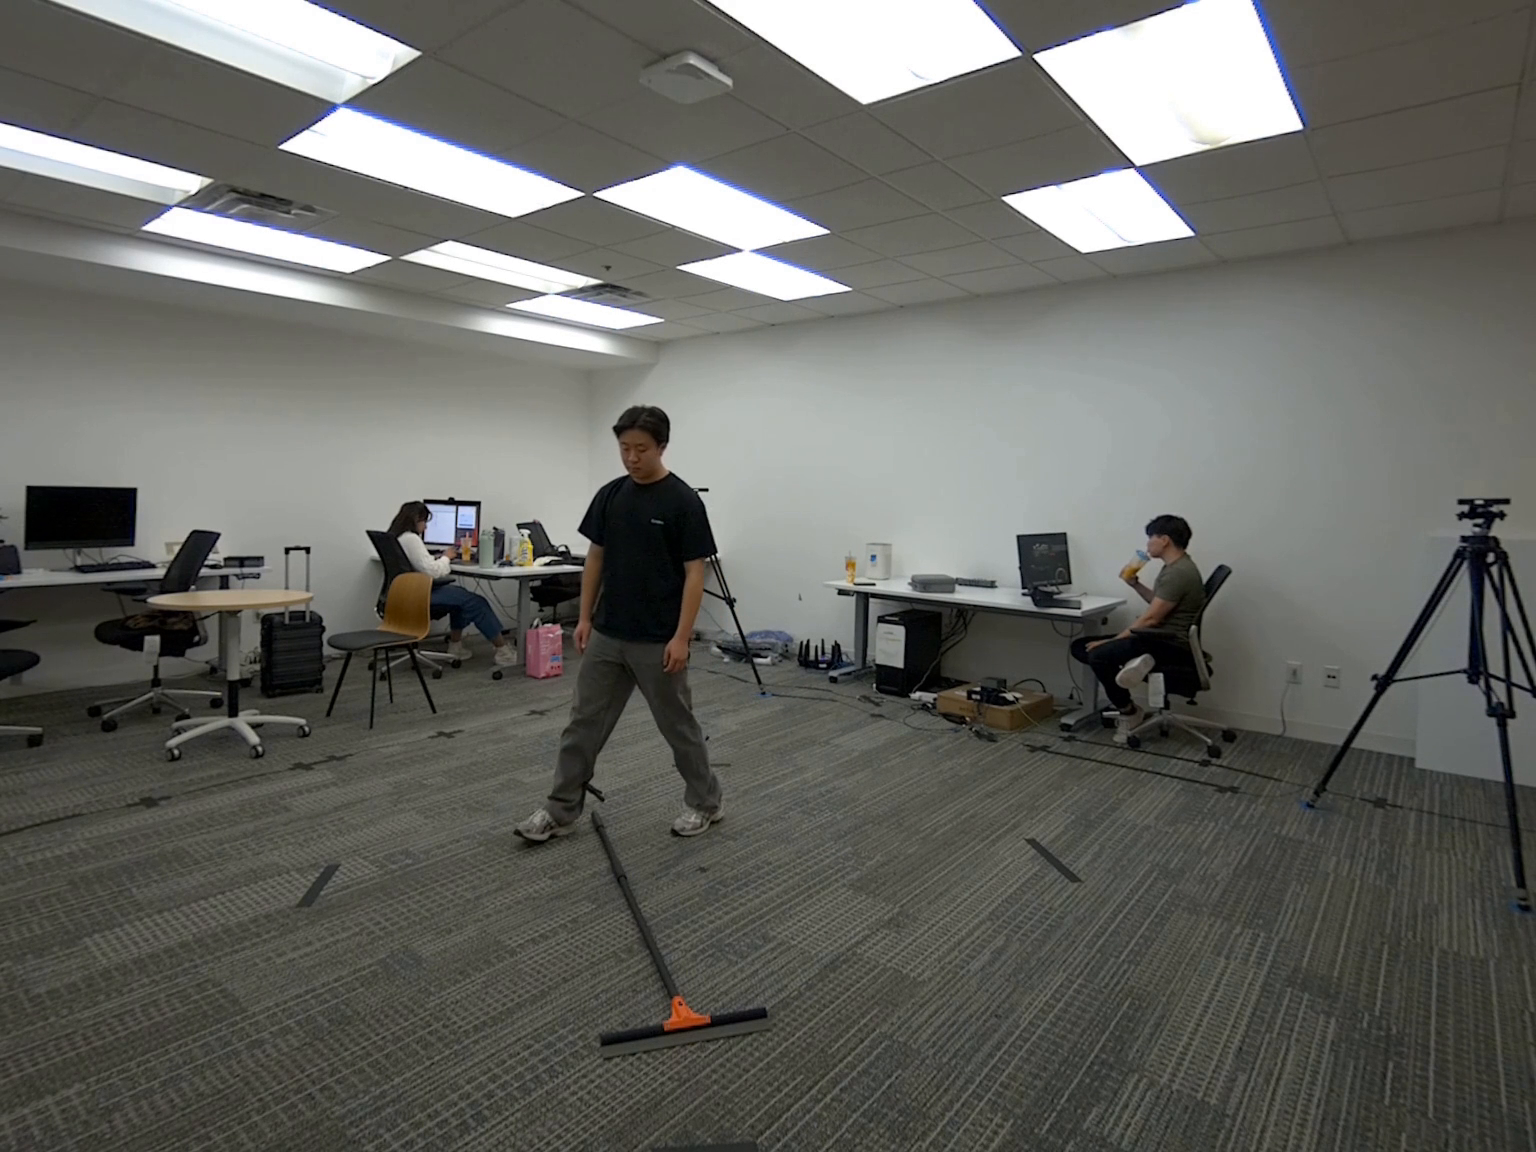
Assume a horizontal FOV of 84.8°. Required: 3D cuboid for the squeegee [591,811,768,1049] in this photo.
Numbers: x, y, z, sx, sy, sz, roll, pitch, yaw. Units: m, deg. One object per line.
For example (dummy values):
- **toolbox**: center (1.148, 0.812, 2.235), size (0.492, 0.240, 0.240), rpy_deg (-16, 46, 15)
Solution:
- **squeegee**: center (-0.475, 1.032, 2.864), size (0.428, 0.053, 1.576), rpy_deg (0, 6, -22)
